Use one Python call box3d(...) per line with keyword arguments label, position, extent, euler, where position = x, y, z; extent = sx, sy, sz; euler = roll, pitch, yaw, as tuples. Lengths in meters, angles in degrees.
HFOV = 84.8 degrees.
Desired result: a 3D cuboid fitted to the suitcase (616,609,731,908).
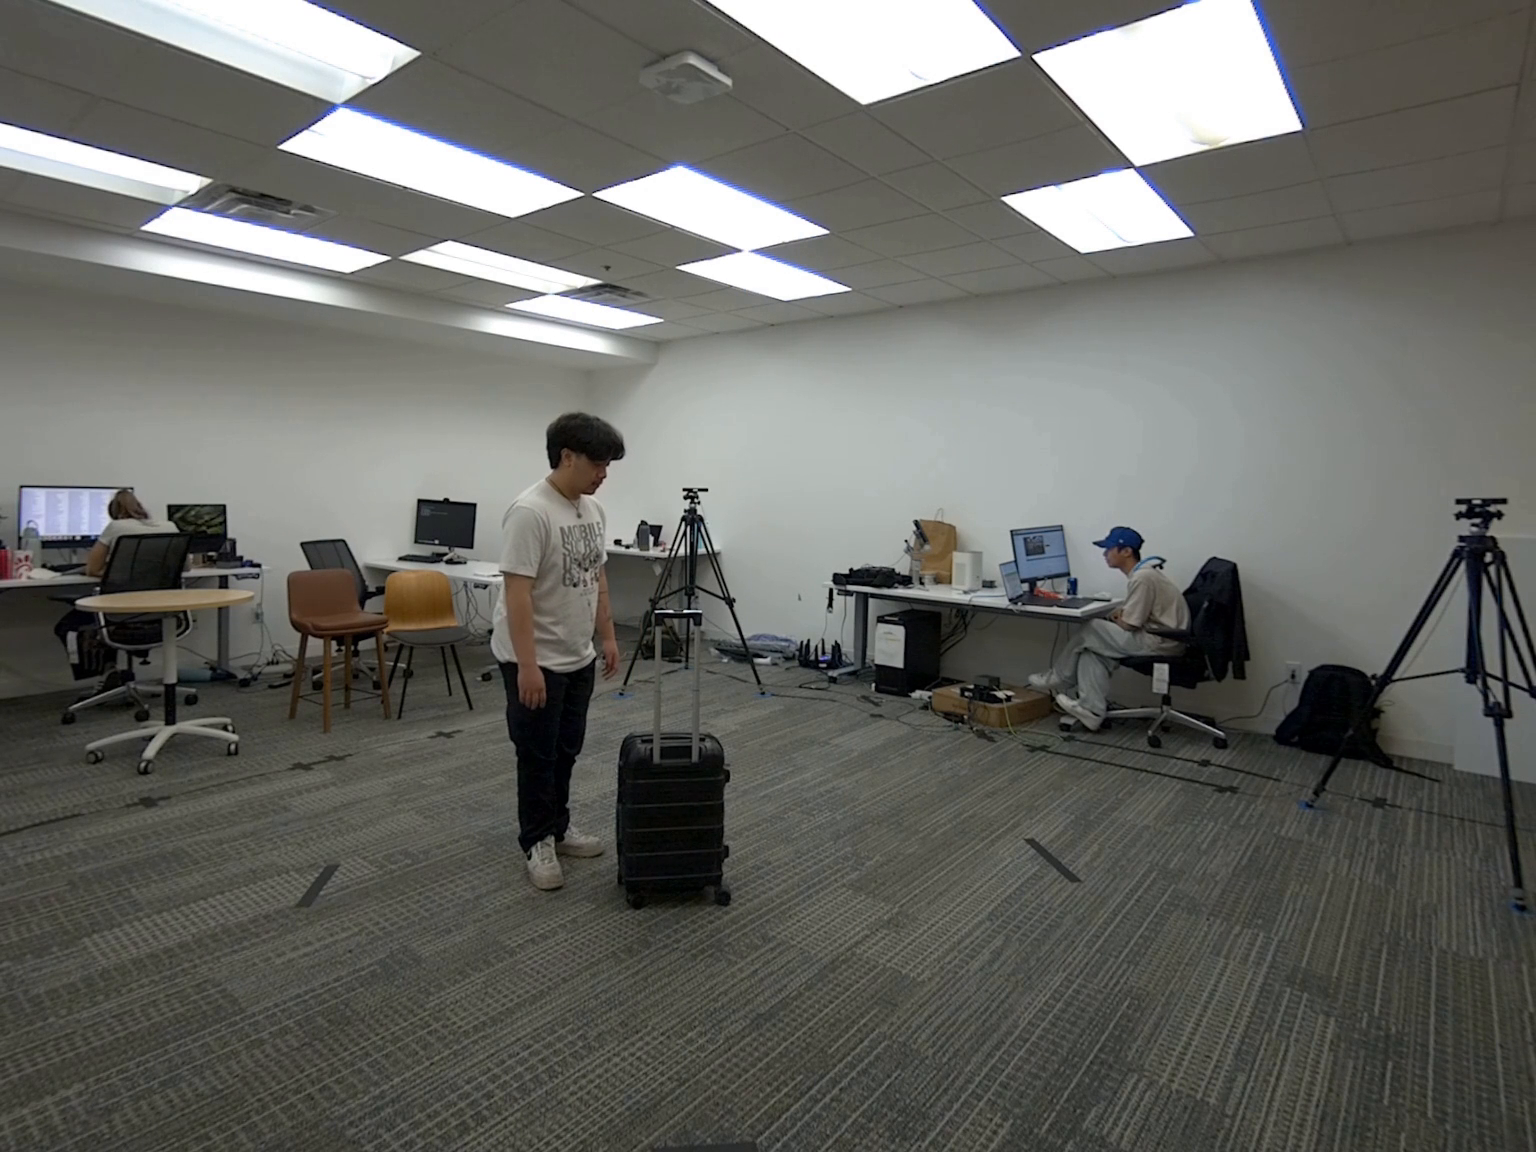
box3d(label="suitcase", position=(-0.341, 0.610, 2.914), extent=(0.380, 0.979, 0.260), euler=(1, 0, -11))
